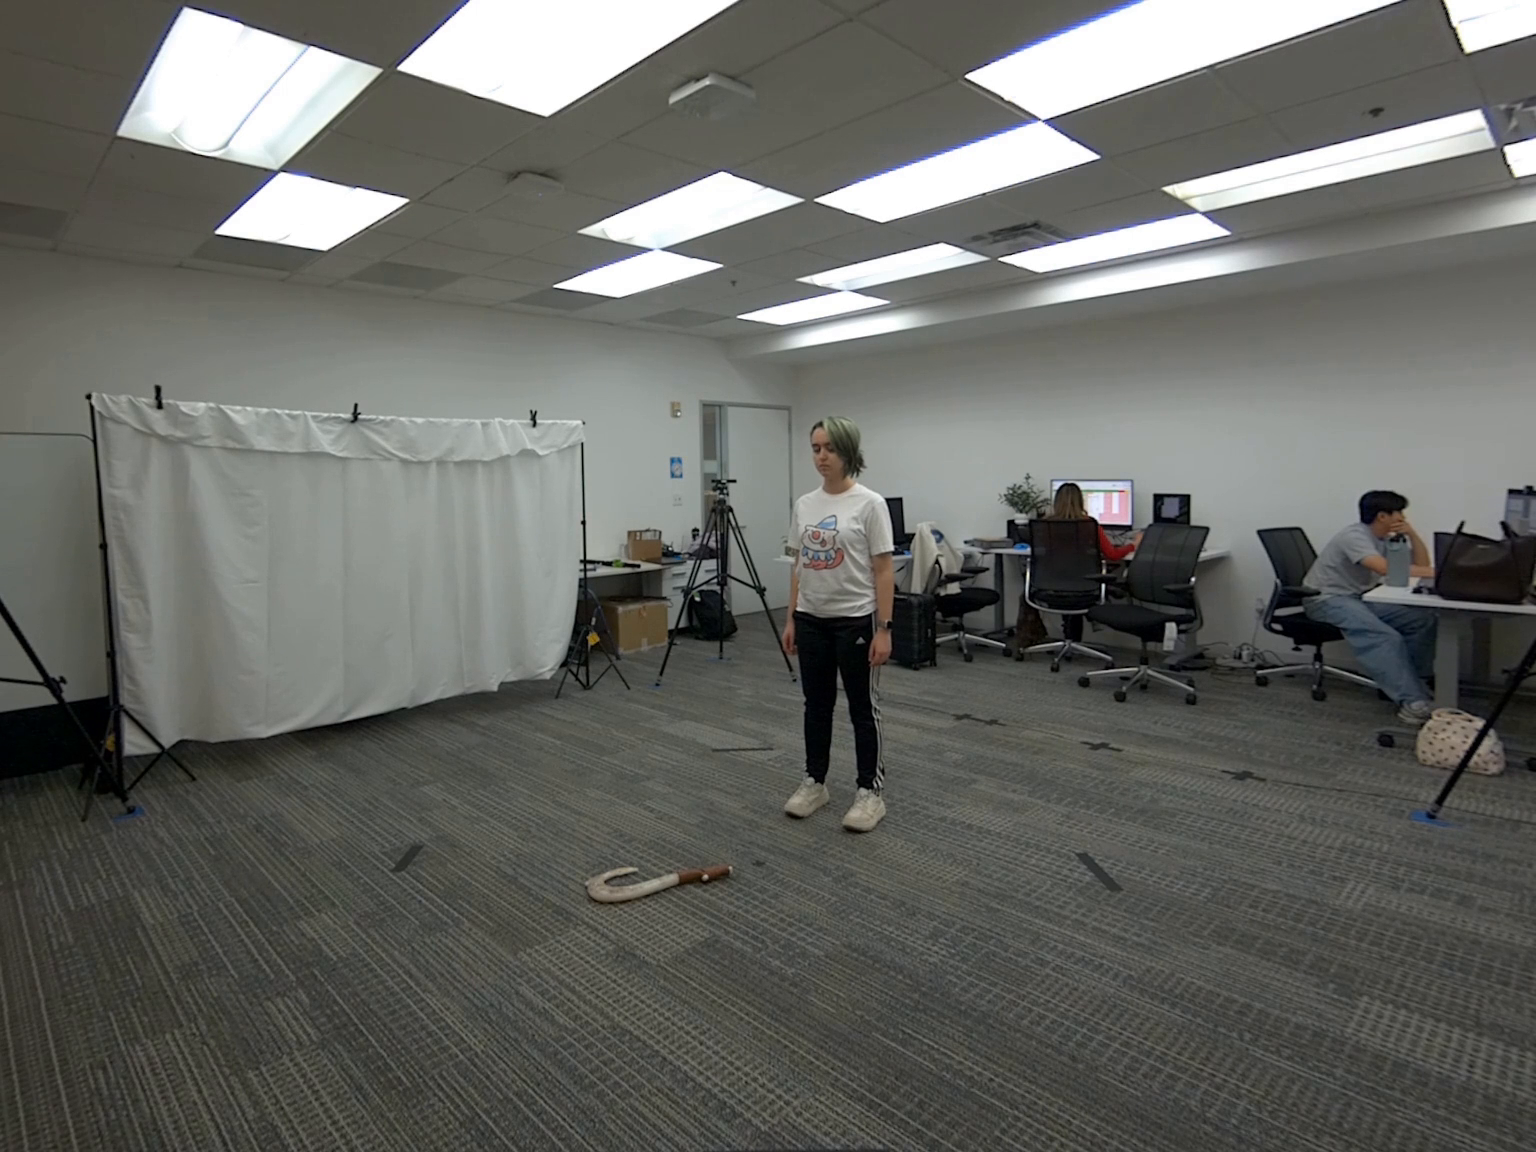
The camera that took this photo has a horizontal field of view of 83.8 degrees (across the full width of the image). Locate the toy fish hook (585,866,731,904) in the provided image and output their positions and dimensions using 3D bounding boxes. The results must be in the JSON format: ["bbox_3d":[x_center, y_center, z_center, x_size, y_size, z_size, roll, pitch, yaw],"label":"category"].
[{"bbox_3d":[-0.377,1.043,2.981,0.498,0.048,0.229,-3,7,-19],"label":"toy fish hook"}]
